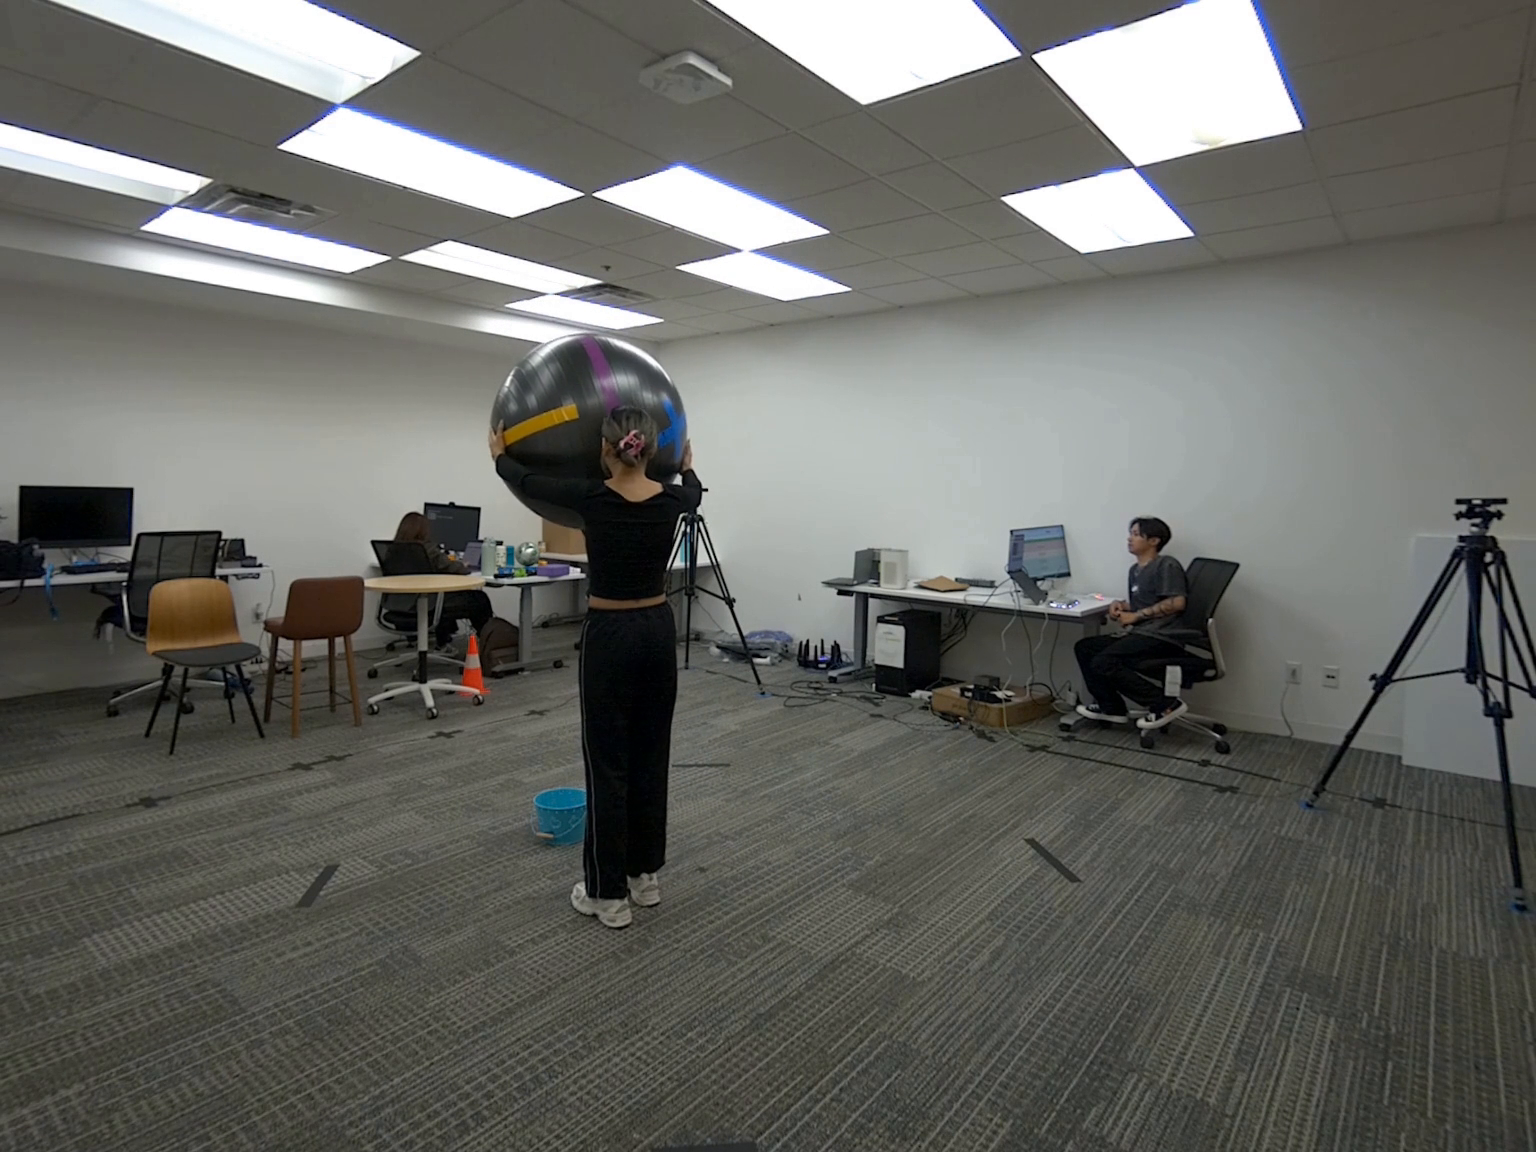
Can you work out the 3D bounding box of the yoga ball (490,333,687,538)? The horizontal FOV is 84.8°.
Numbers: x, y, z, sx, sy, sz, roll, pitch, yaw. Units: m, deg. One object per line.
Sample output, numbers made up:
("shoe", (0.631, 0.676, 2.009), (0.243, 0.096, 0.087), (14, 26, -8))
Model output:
("yoga ball", (-0.704, -0.552, 3.308), (0.757, 0.755, 0.762), (1, 4, -2))
